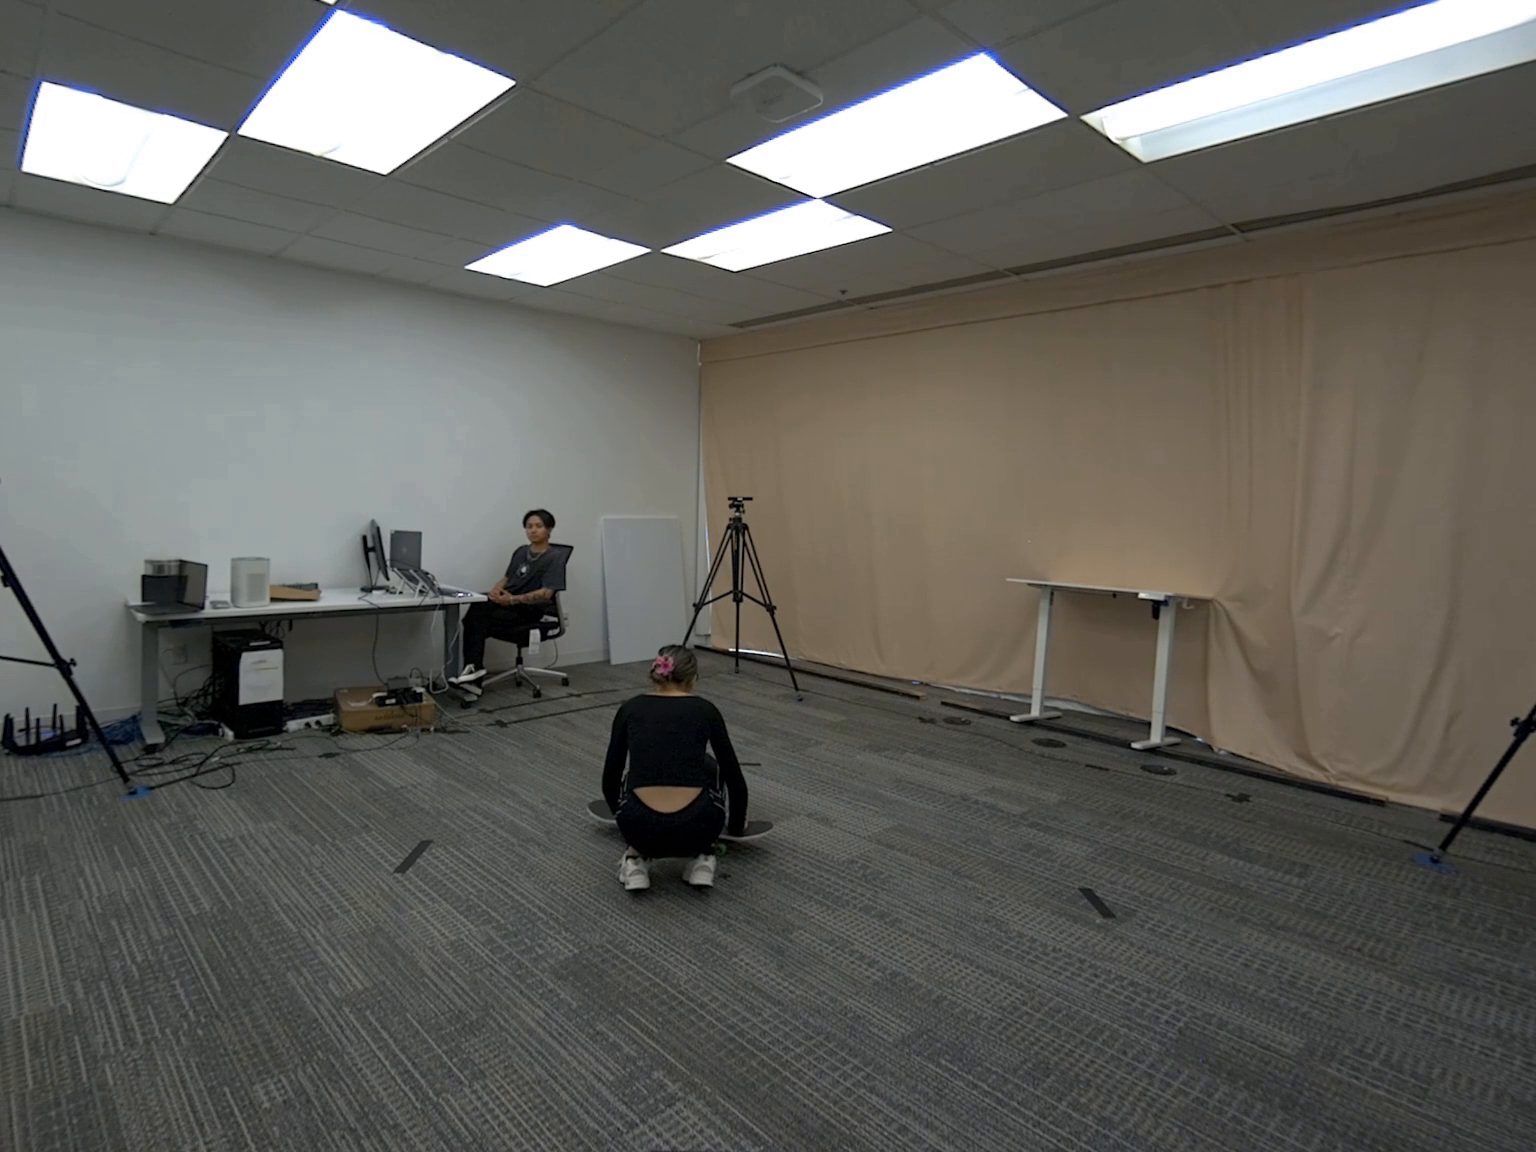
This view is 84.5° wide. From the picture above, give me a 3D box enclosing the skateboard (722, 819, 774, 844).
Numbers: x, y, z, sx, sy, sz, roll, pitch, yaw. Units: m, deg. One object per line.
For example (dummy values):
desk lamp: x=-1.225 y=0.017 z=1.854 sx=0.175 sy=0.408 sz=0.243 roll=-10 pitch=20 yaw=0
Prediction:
skateboard: x=-0.356 y=1.019 z=3.405 sx=0.795 sy=0.110 sz=0.191 roll=2 pitch=5 yaw=16
